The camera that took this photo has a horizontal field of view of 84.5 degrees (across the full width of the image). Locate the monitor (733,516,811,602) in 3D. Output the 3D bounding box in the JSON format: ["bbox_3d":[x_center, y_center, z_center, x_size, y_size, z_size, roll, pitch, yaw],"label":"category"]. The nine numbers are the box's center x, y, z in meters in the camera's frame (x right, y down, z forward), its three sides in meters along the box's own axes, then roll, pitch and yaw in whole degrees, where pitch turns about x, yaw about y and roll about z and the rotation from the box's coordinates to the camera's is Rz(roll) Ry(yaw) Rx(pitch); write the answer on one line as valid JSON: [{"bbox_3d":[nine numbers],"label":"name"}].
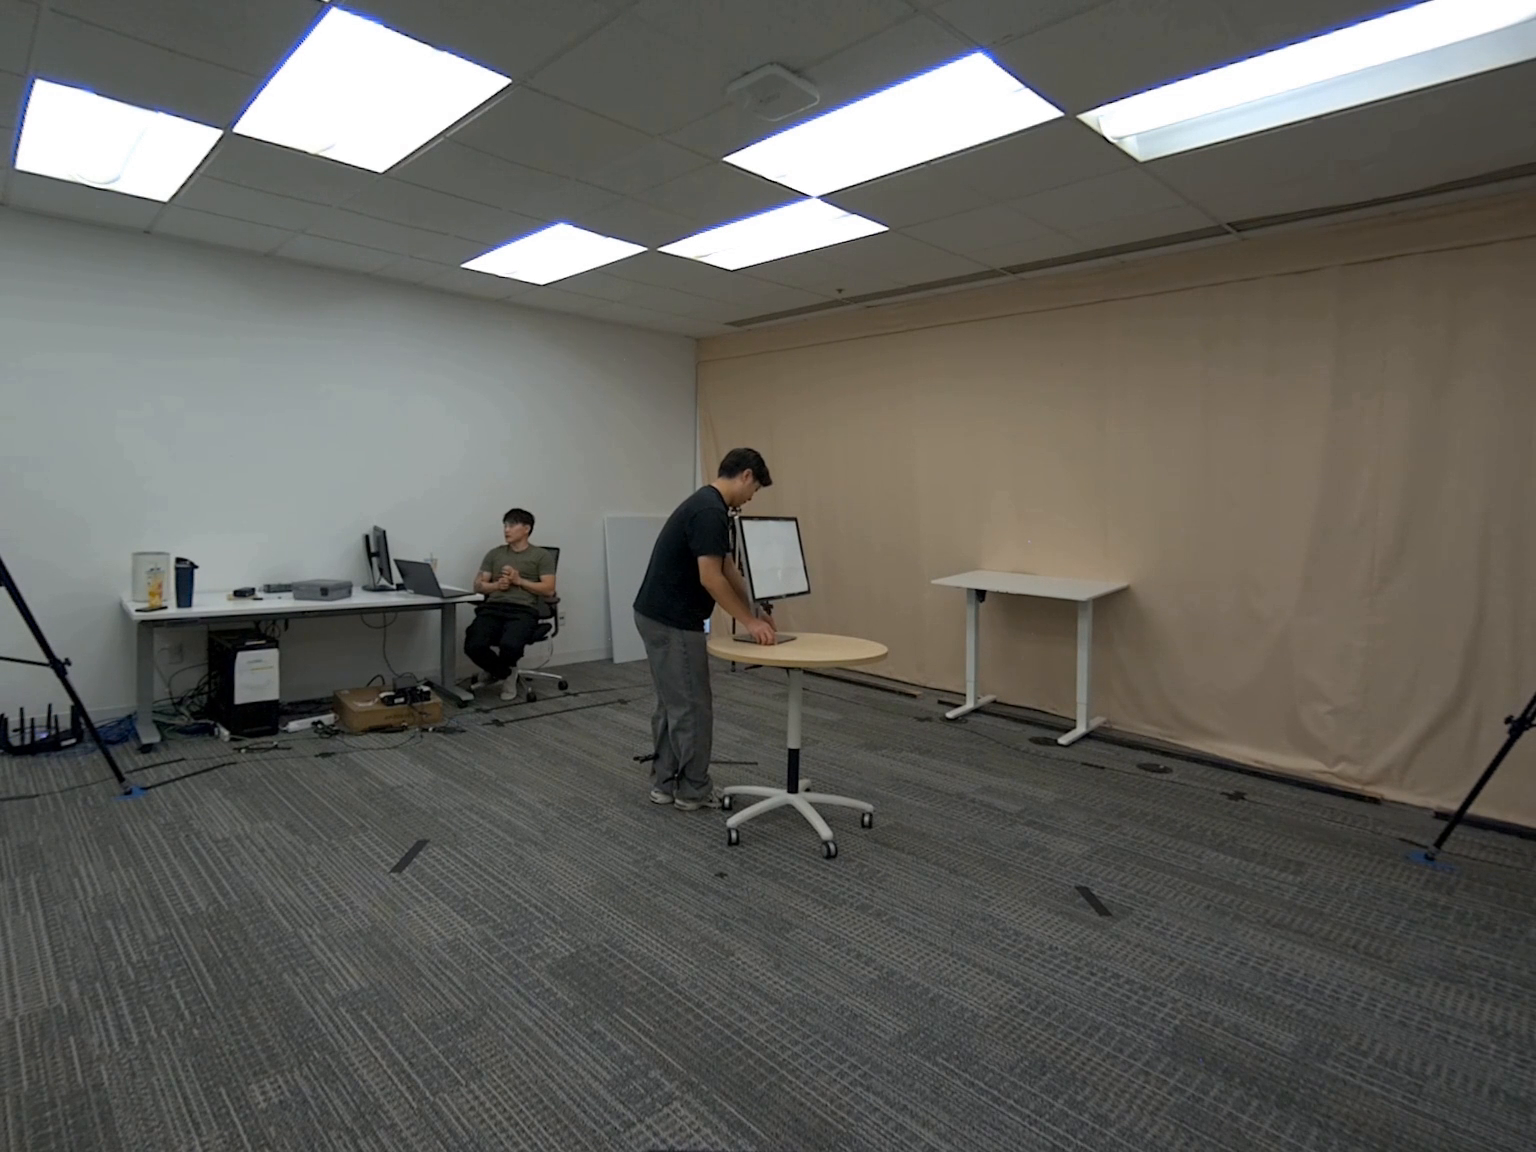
[{"bbox_3d":[-0.010,0.018,3.702,0.227,0.564,0.551,5,5,30],"label":"monitor"}]
